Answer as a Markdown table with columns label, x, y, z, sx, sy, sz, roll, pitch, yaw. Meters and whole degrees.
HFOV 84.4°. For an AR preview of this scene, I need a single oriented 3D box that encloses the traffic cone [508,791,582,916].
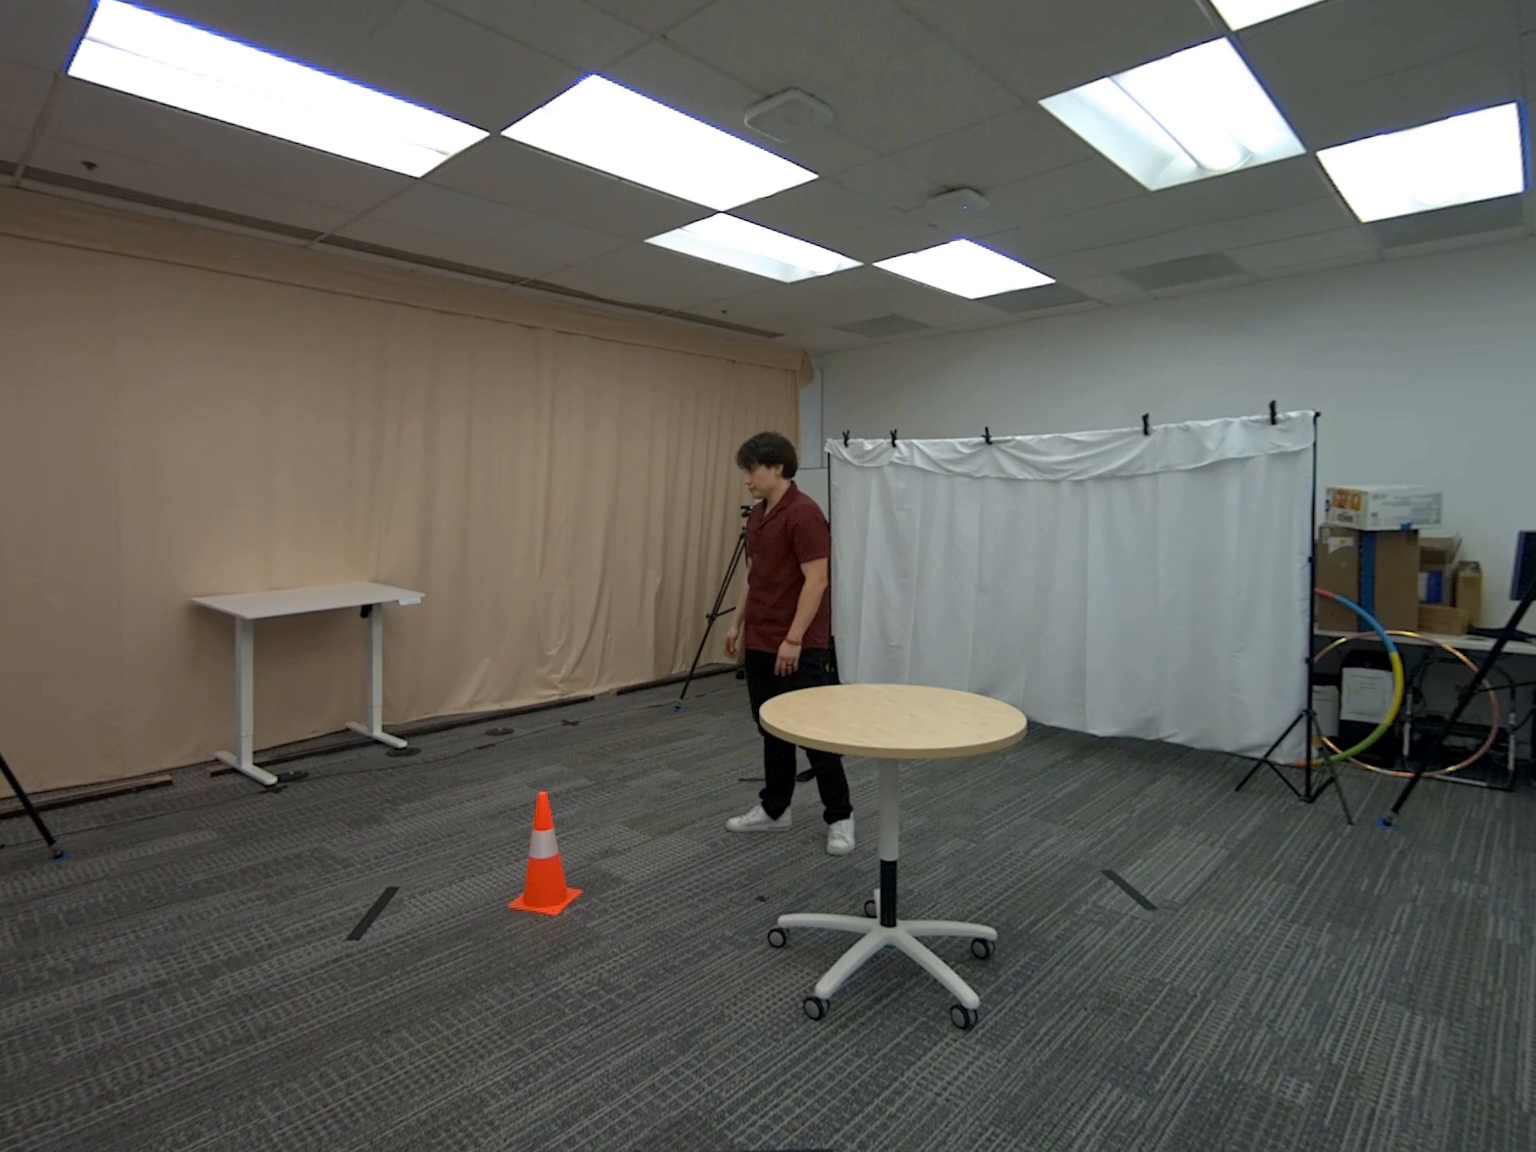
| label | x | y | z | sx | sy | sz | roll | pitch | yaw |
| --- | --- | --- | --- | --- | --- | --- | --- | --- | --- |
| traffic cone | -0.801 | 0.965 | 2.984 | 0.208 | 0.383 | 0.201 | -1 | 2 | 21 |
